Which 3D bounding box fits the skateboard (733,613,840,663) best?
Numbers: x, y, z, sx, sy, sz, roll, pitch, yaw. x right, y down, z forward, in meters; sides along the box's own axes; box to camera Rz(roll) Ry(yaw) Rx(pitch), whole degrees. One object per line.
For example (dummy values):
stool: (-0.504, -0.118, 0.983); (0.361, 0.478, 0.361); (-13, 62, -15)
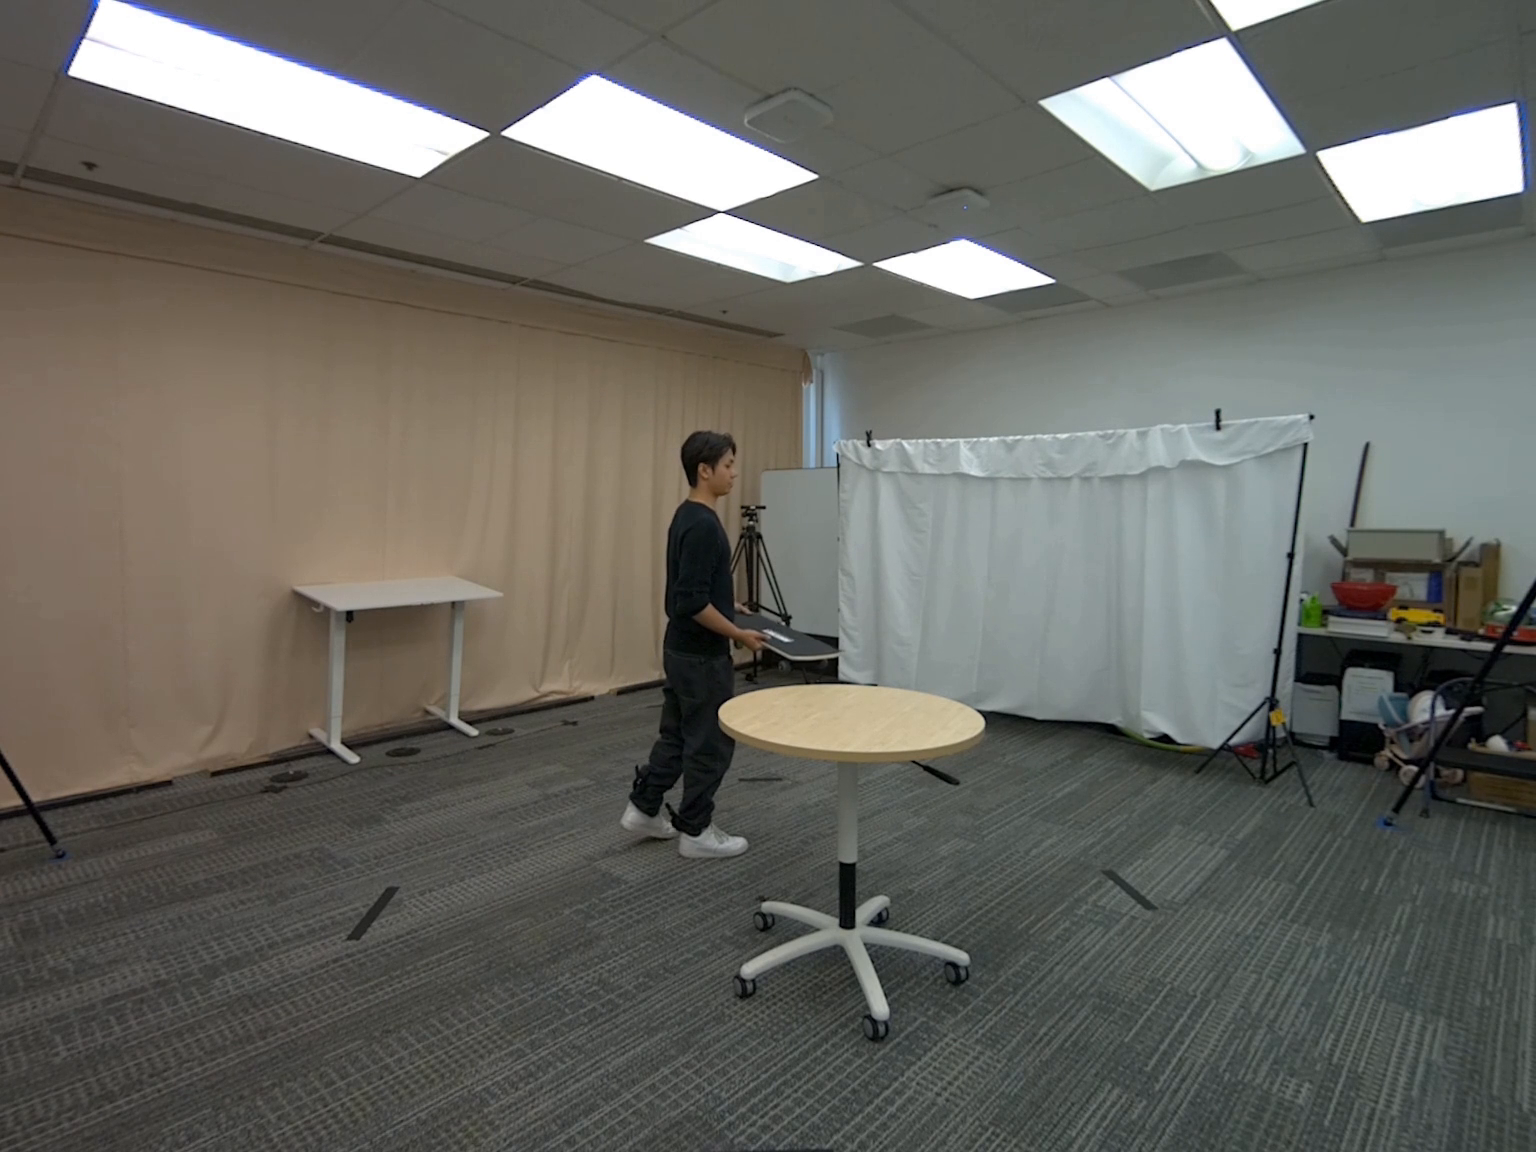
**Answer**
skateboard: (0.036, 0.265, 3.246); (0.189, 0.110, 0.809); (-4, 11, -27)
